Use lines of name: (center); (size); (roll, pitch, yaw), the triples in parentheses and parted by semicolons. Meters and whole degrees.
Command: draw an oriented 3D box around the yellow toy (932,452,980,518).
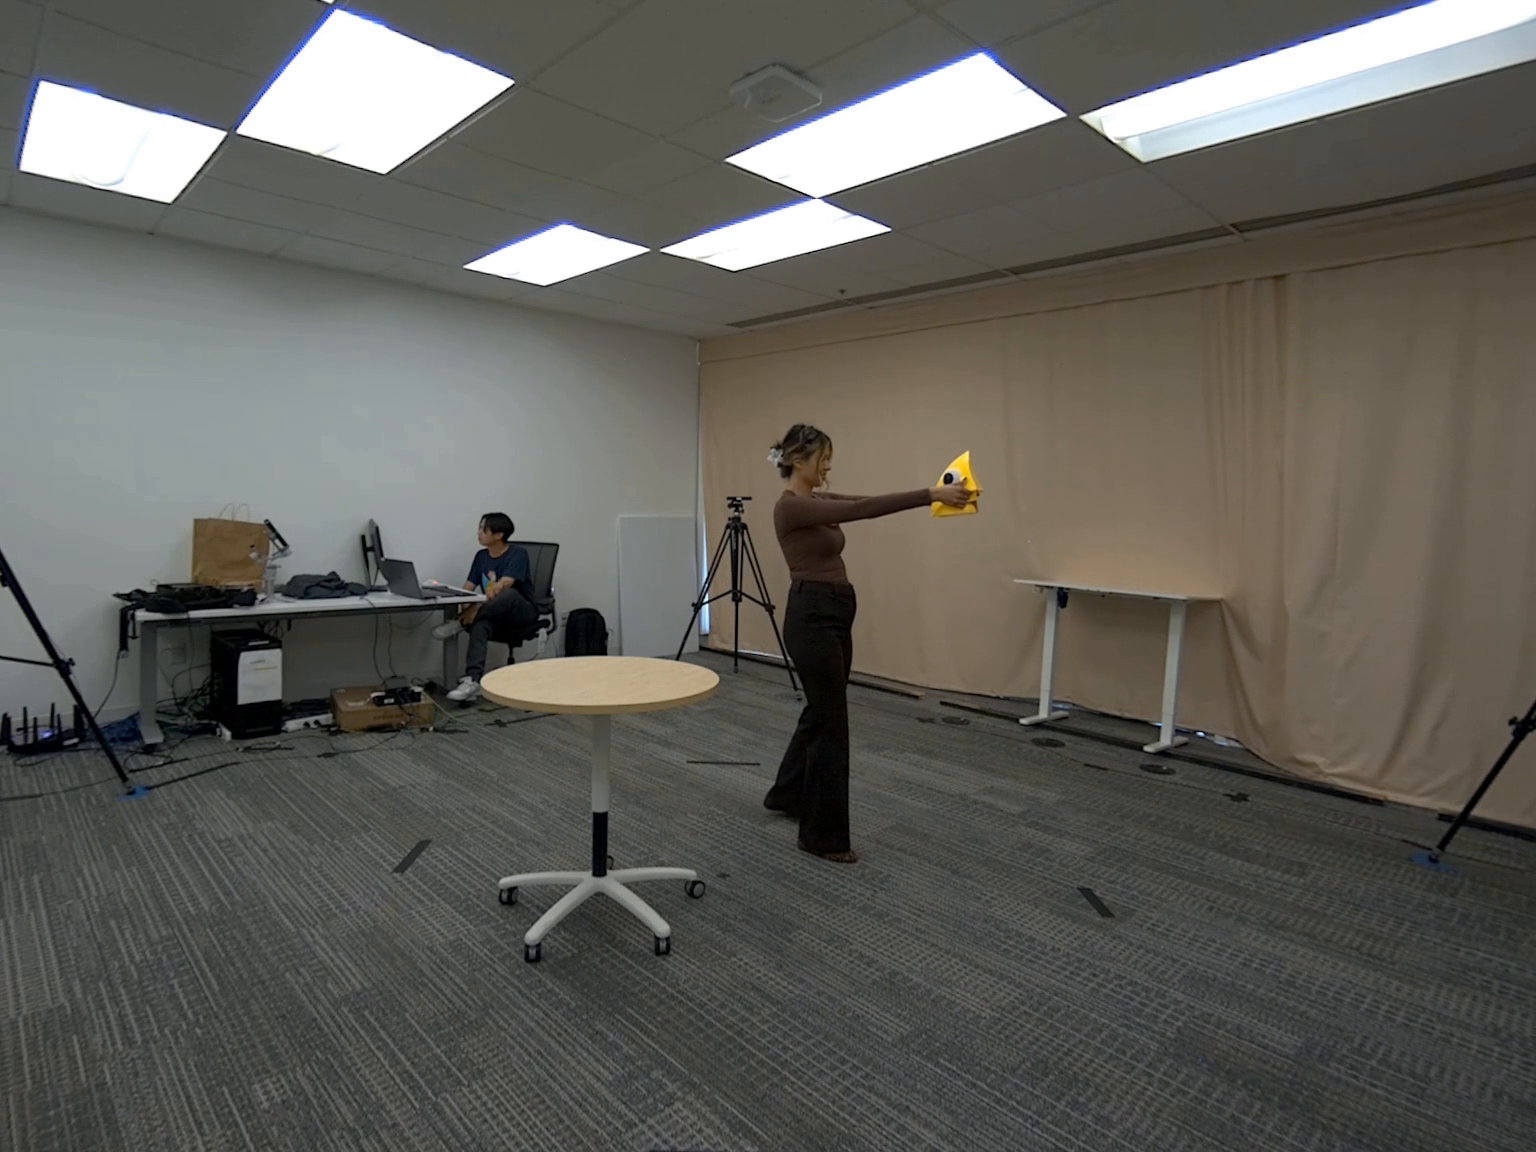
yellow toy: (0.689, -0.344, 3.134); (0.196, 0.231, 0.201); (-6, -1, 23)
